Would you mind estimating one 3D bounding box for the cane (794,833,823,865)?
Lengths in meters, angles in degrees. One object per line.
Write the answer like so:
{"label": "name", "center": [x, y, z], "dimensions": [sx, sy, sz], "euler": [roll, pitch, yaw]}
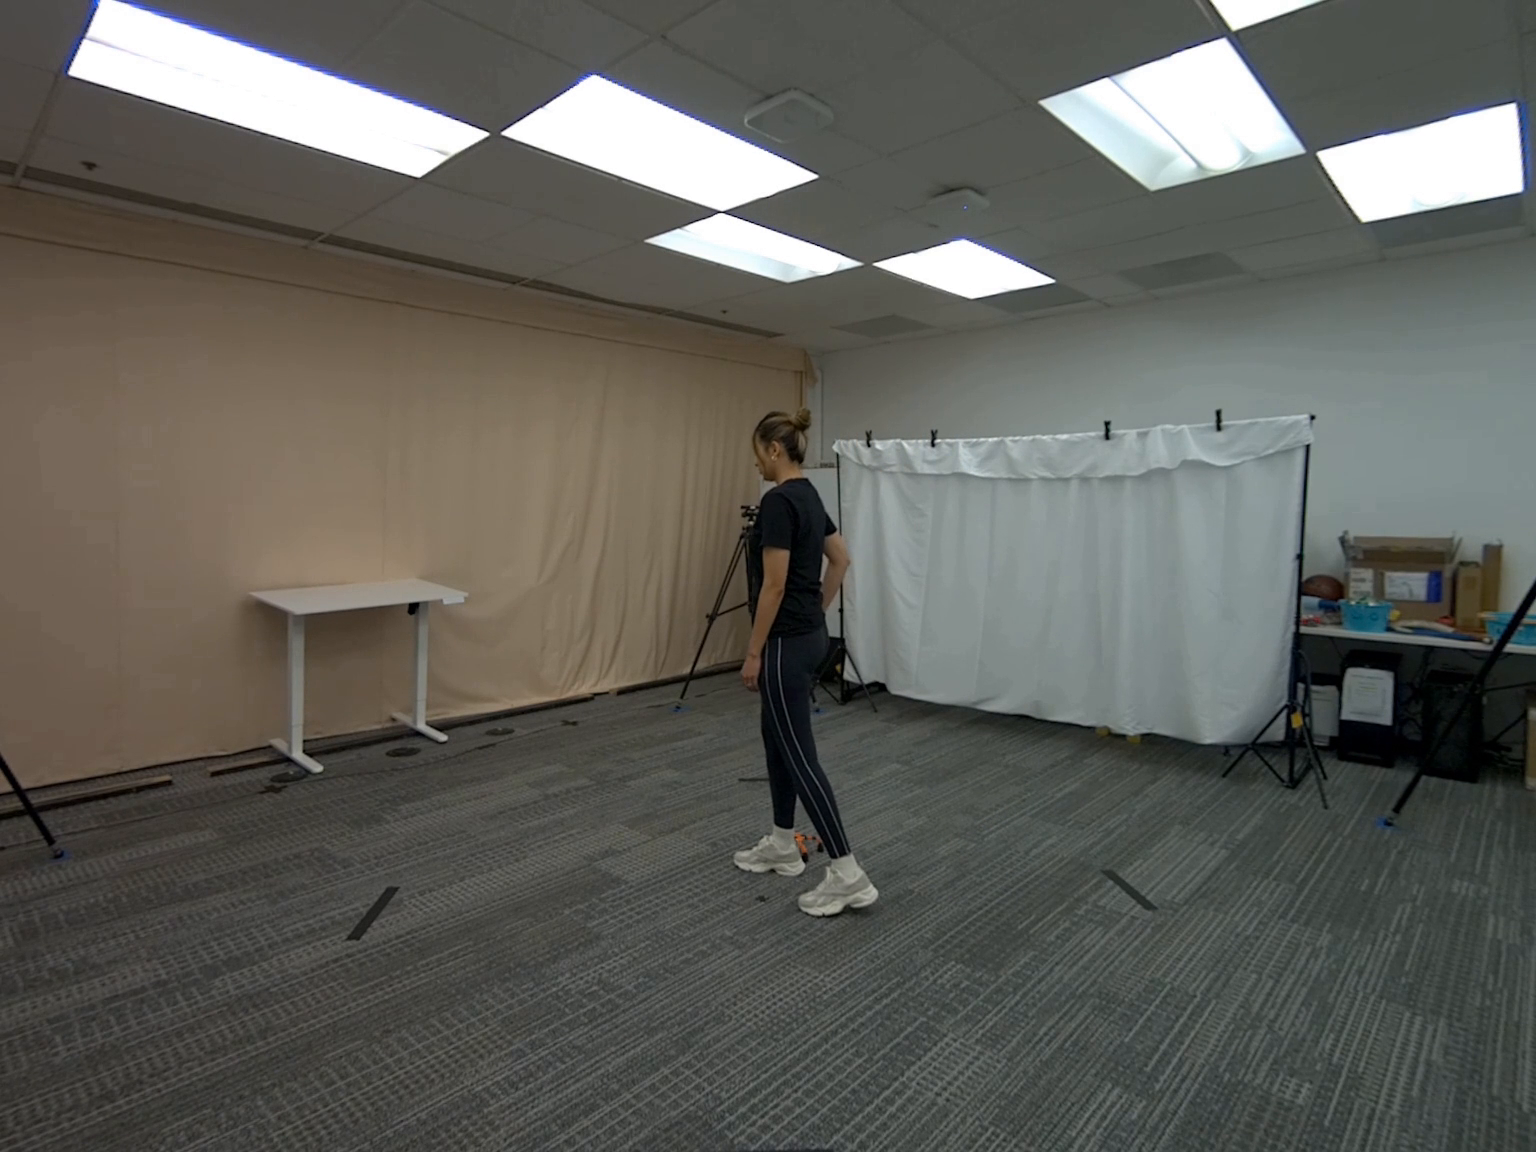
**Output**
{"label": "cane", "center": [0.108, 0.653, 3.381], "dimensions": [0.213, 0.906, 0.147], "euler": [1, 3, 33]}
